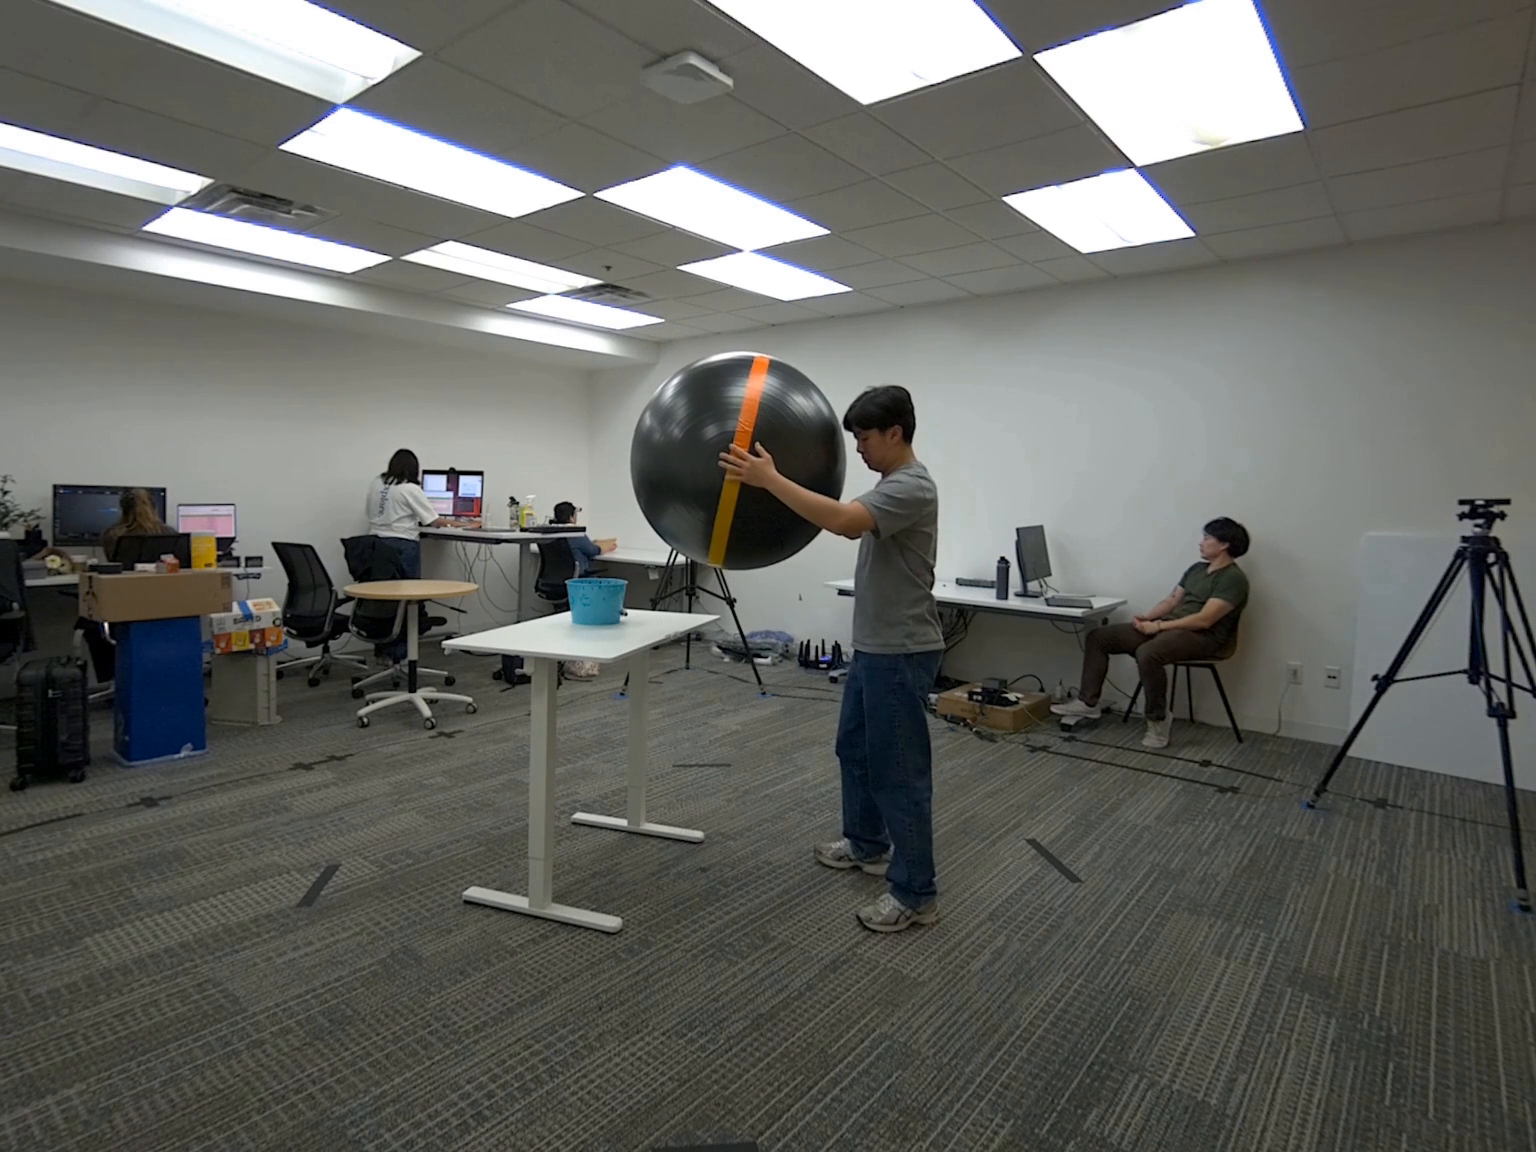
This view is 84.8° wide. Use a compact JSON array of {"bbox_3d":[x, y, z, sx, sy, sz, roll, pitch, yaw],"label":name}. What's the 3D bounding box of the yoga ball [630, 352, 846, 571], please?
[{"bbox_3d":[-0.119,-0.395,2.987,0.757,0.755,0.762,1,4,-2],"label":"yoga ball"}]
